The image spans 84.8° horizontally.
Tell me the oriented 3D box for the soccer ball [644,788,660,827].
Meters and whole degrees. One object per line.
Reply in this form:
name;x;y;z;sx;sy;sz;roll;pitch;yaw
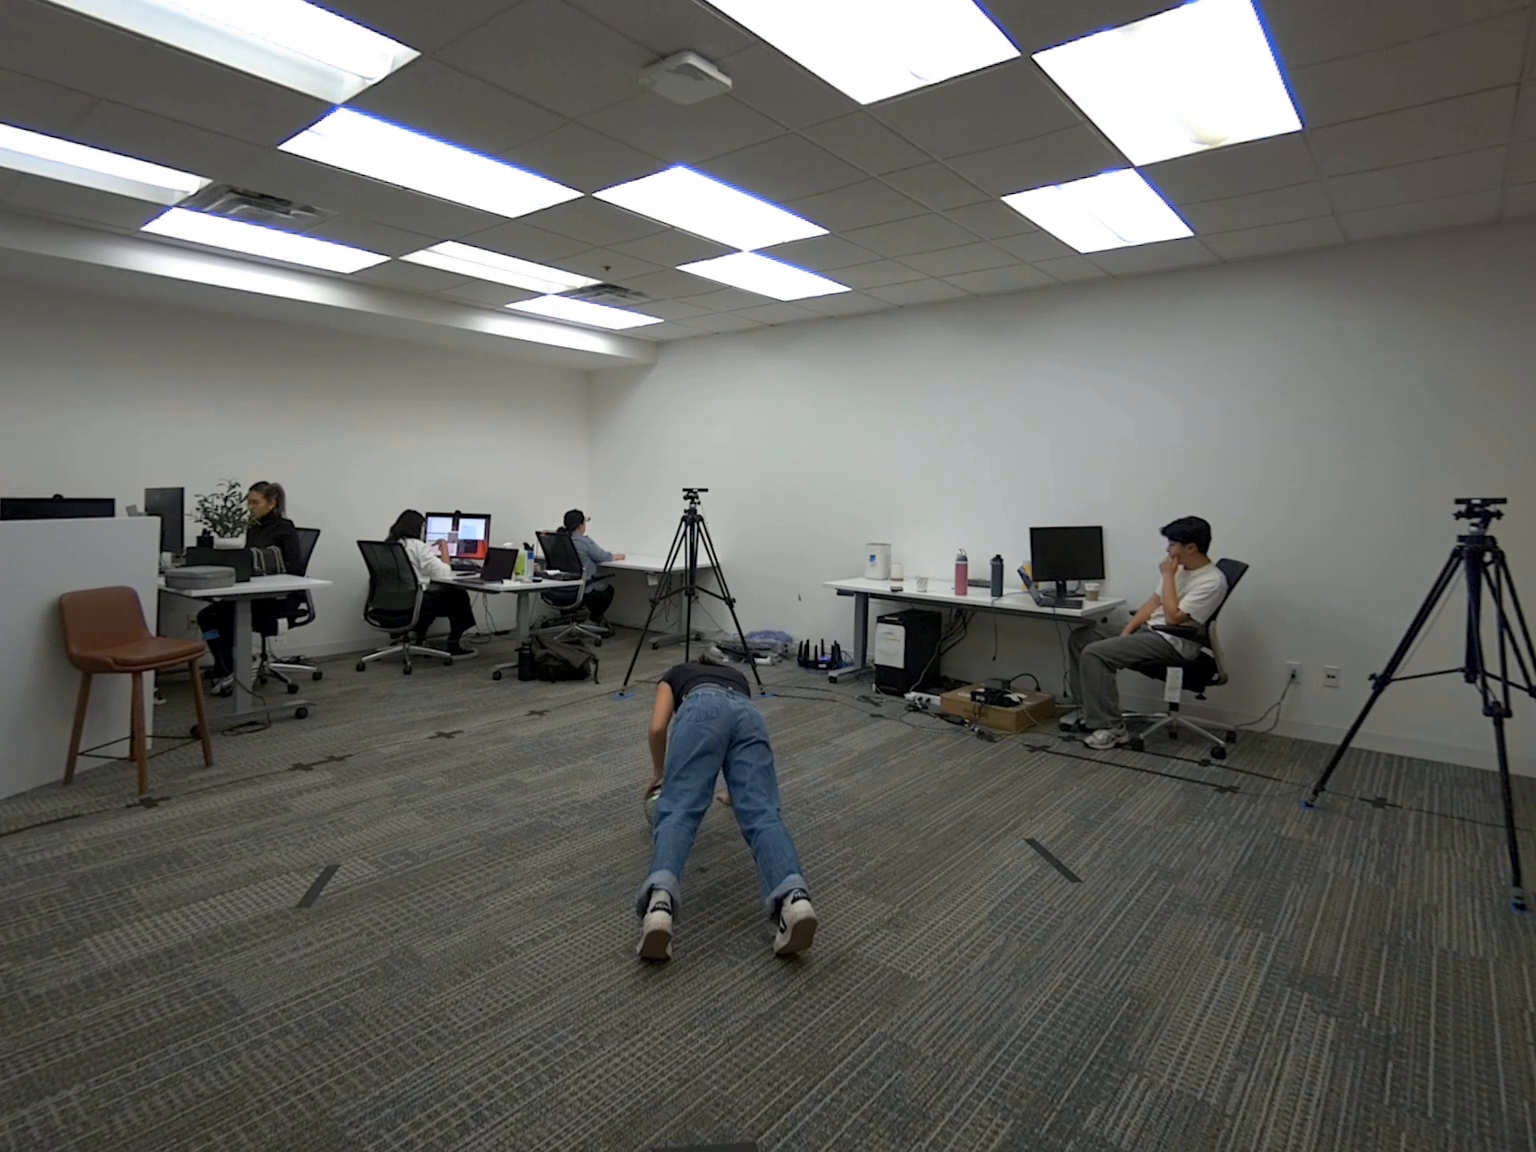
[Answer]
soccer ball;-0.390;0.929;3.473;0.187;0.187;0.188;1;4;-2
